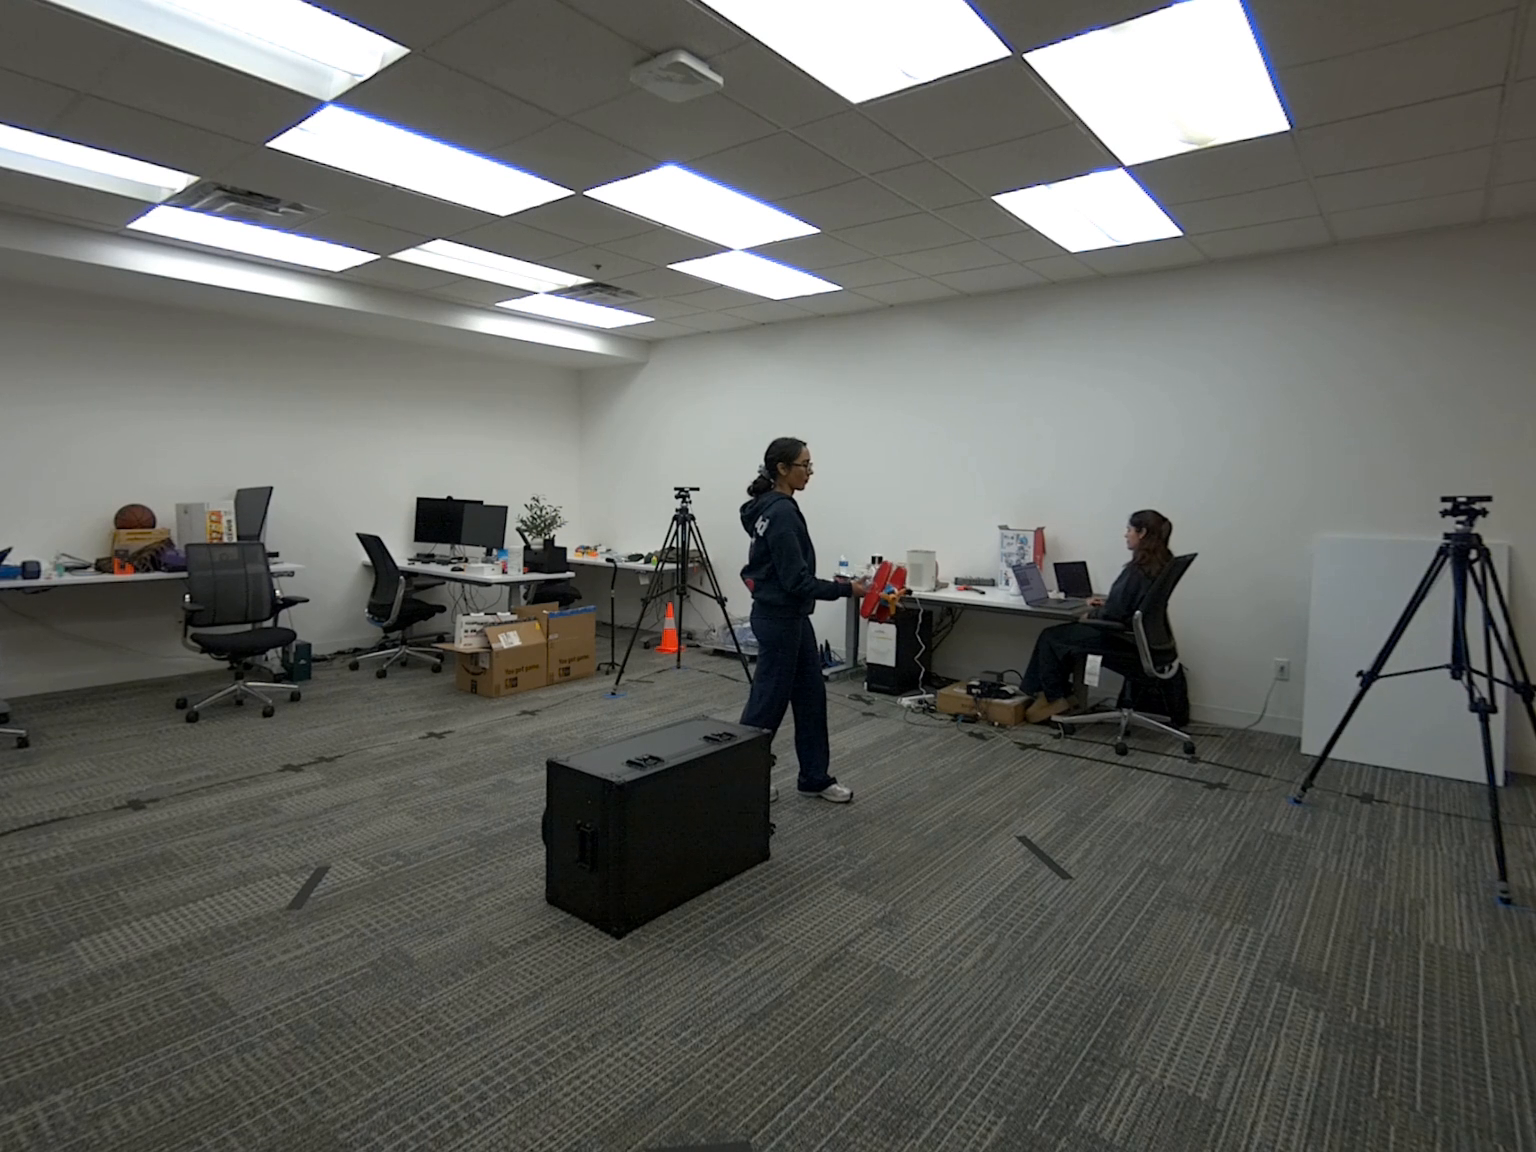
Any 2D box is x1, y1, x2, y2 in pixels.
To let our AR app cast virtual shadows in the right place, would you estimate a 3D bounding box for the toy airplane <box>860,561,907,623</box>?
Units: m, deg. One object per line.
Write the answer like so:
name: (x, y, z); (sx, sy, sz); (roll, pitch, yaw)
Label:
toy airplane: (0.458, 0.067, 3.552); (0.151, 0.254, 0.266); (14, -16, -40)
